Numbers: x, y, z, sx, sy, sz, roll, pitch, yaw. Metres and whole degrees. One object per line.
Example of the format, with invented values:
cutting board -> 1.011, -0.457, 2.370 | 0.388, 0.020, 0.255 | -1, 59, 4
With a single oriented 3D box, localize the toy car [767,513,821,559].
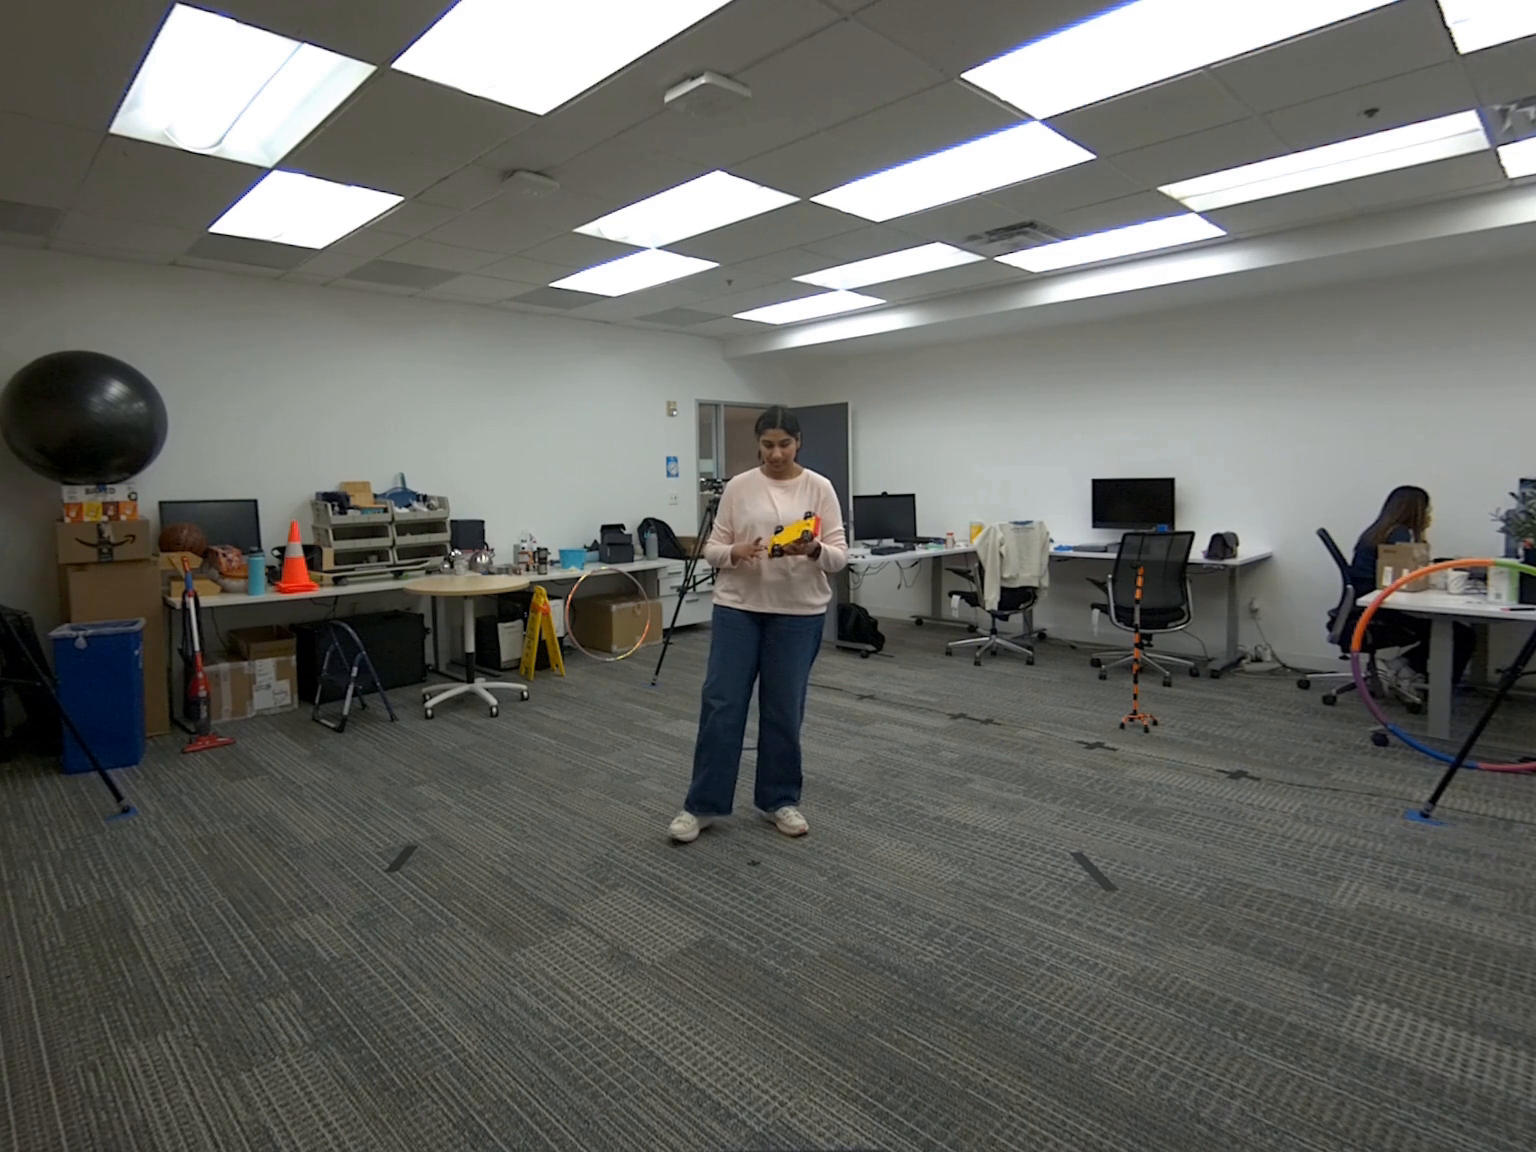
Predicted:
toy car -> 0.066, -0.130, 3.080 | 0.081, 0.133, 0.255 | 25, -39, -20
